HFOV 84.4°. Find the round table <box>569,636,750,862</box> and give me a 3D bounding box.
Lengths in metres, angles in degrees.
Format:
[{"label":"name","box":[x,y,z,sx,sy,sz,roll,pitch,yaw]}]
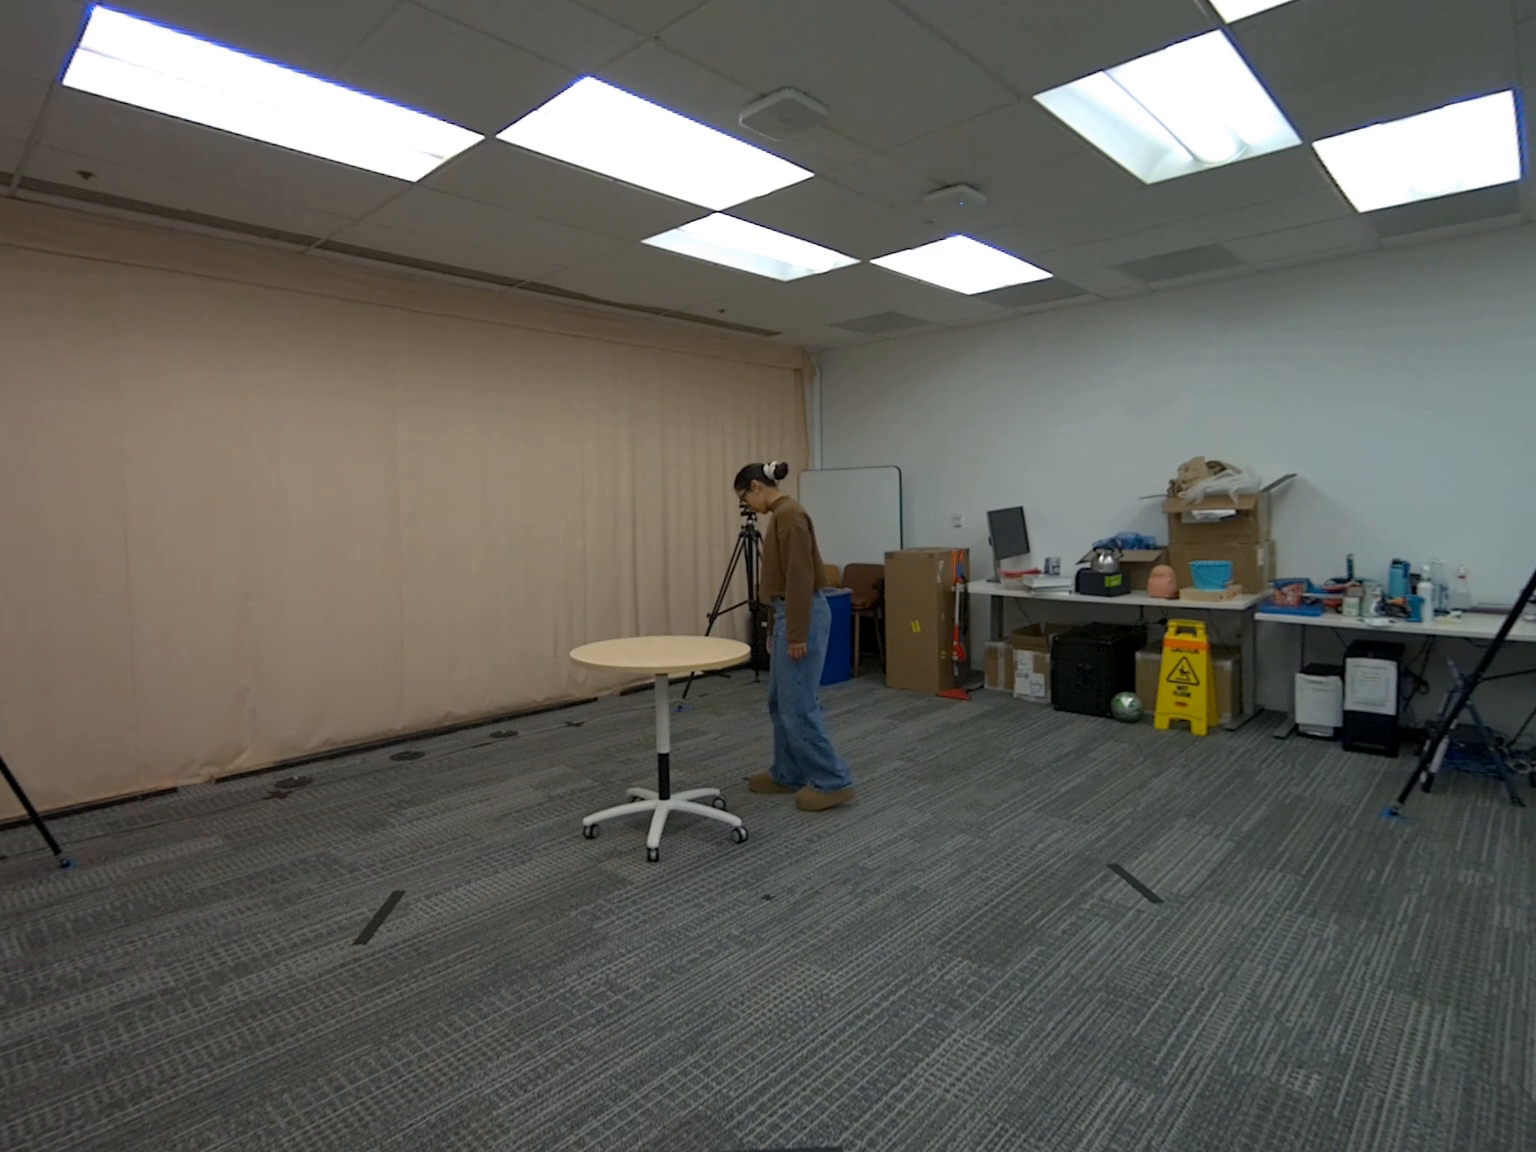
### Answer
[{"label":"round table","box":[-0.442,0.706,3.605,0.763,0.792,0.766,-1,4,-2]}]
